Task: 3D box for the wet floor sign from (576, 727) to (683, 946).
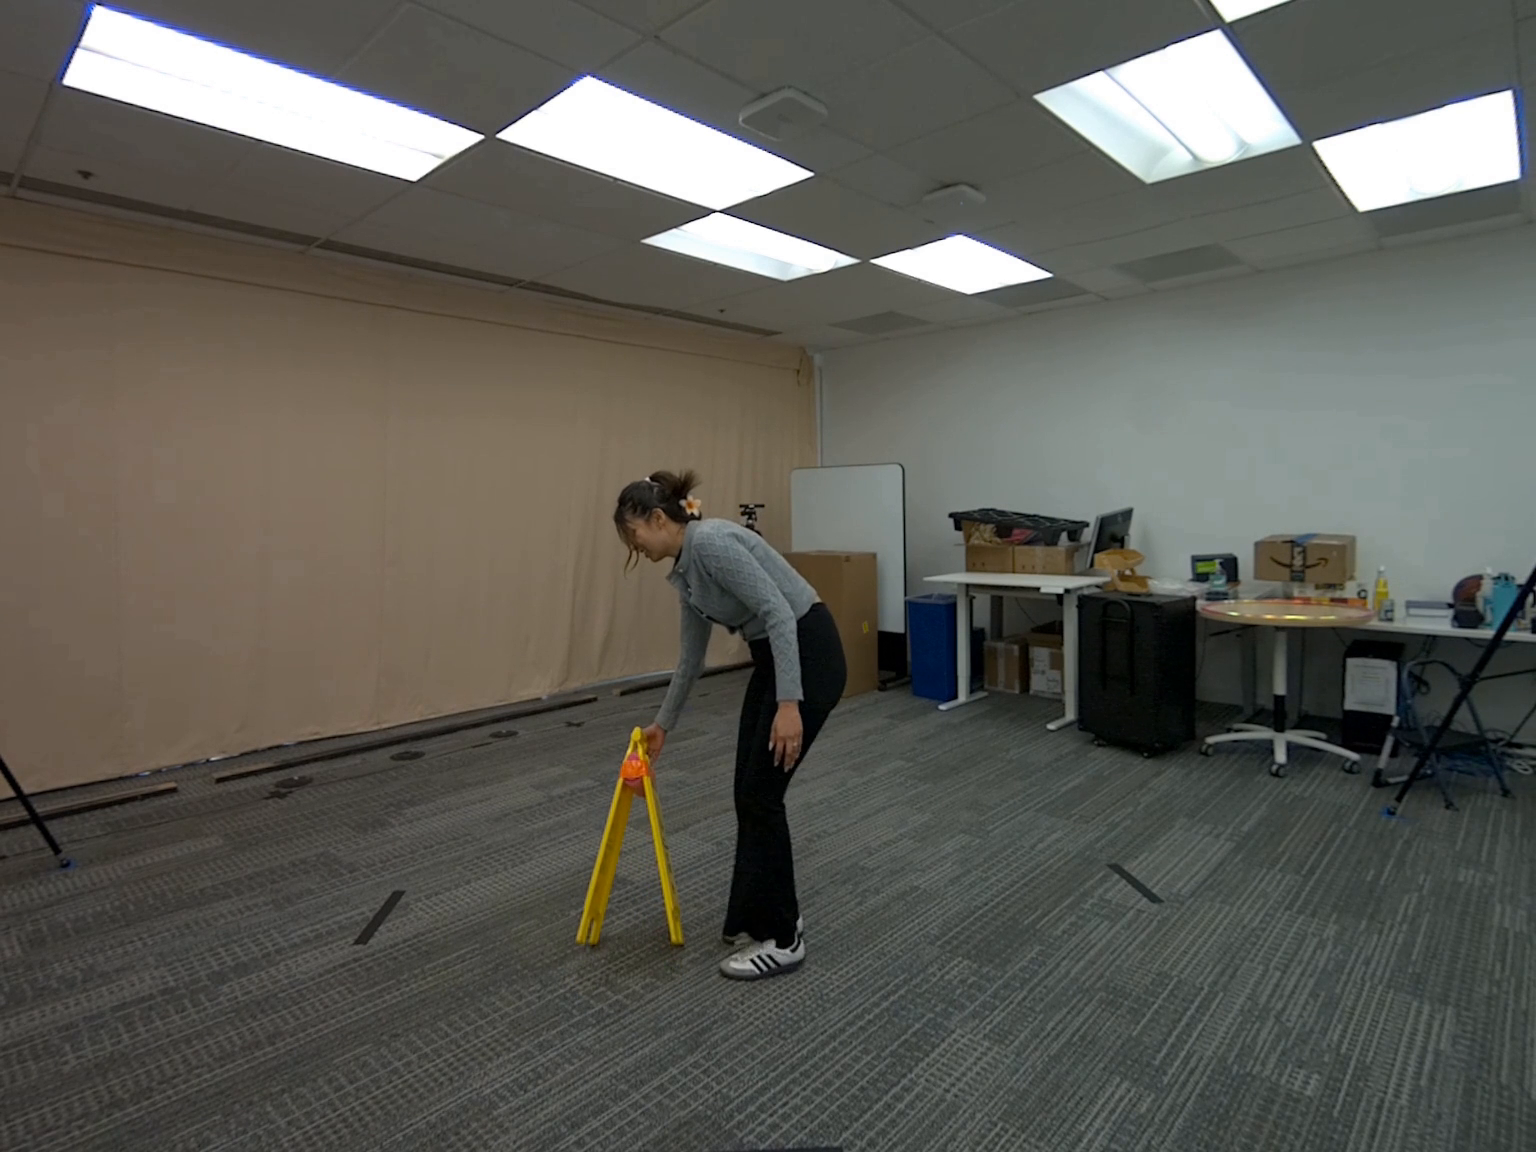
[{"bbox_3d":[-0.432,0.830,2.698,0.290,0.655,0.278,0,-25,0],"label":"wet floor sign"}]
